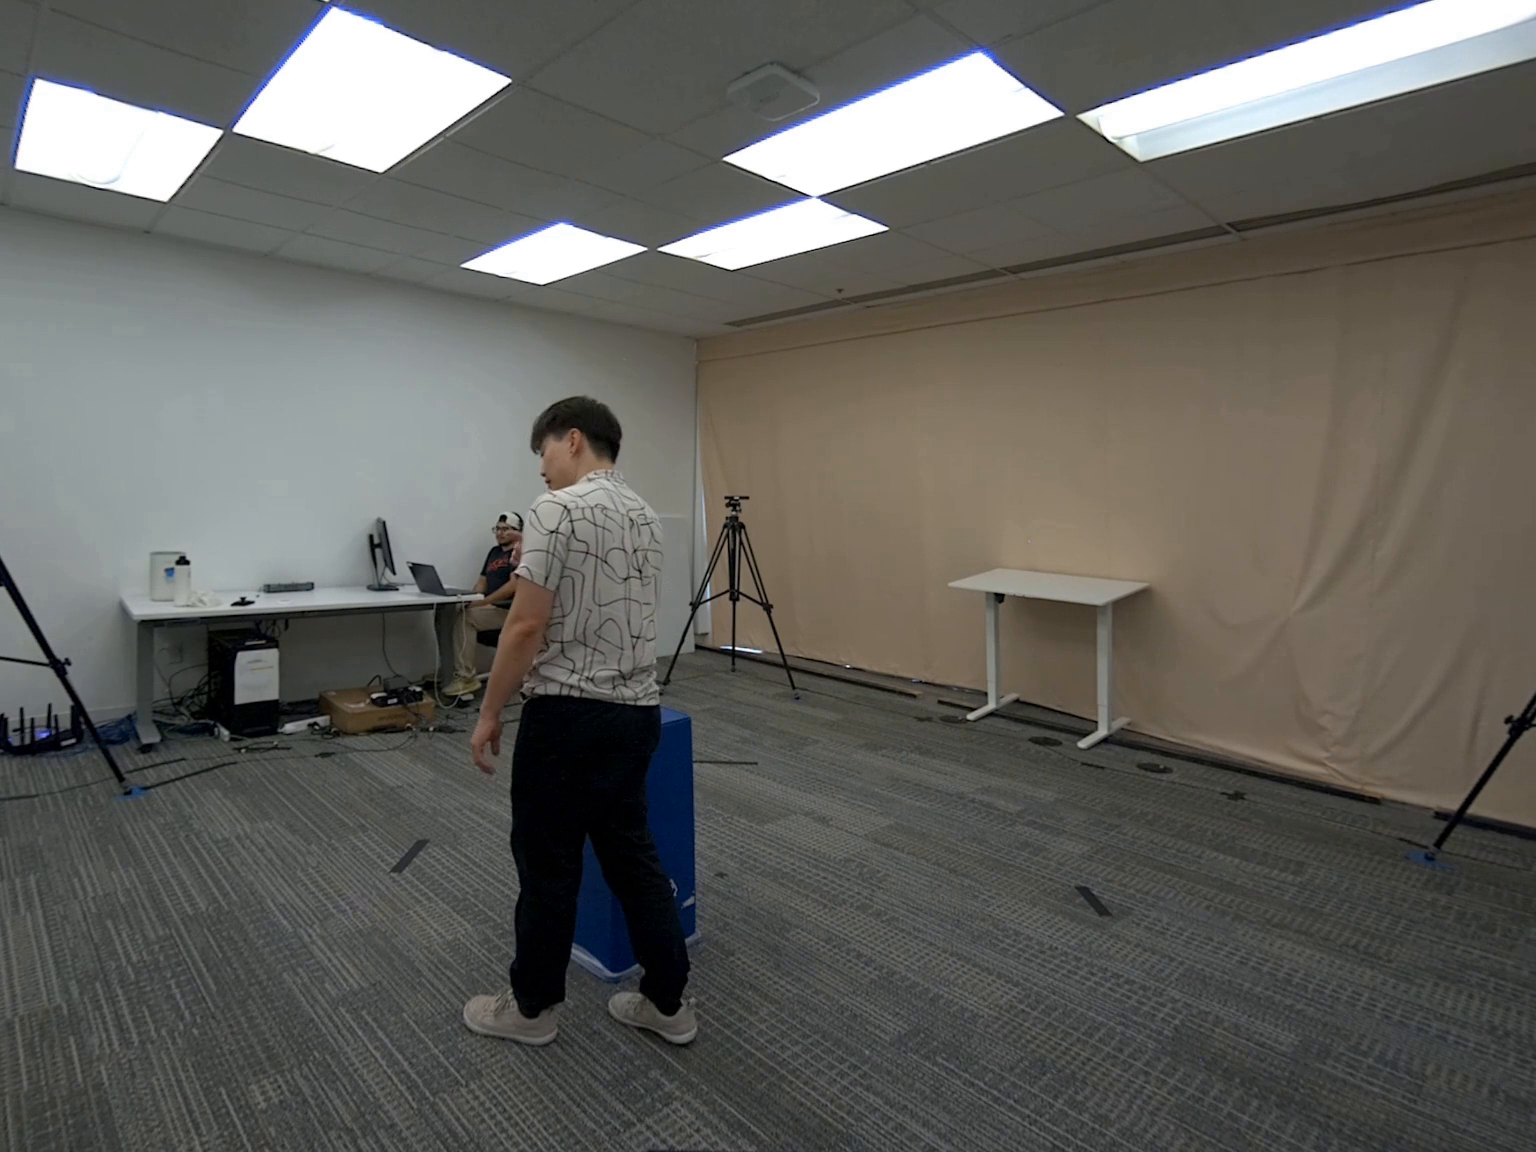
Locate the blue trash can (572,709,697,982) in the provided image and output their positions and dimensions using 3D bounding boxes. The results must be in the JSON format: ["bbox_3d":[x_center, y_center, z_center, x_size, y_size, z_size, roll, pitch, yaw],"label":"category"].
[{"bbox_3d":[-0.461,0.790,2.621,0.387,0.712,0.365,3,4,43],"label":"blue trash can"}]
